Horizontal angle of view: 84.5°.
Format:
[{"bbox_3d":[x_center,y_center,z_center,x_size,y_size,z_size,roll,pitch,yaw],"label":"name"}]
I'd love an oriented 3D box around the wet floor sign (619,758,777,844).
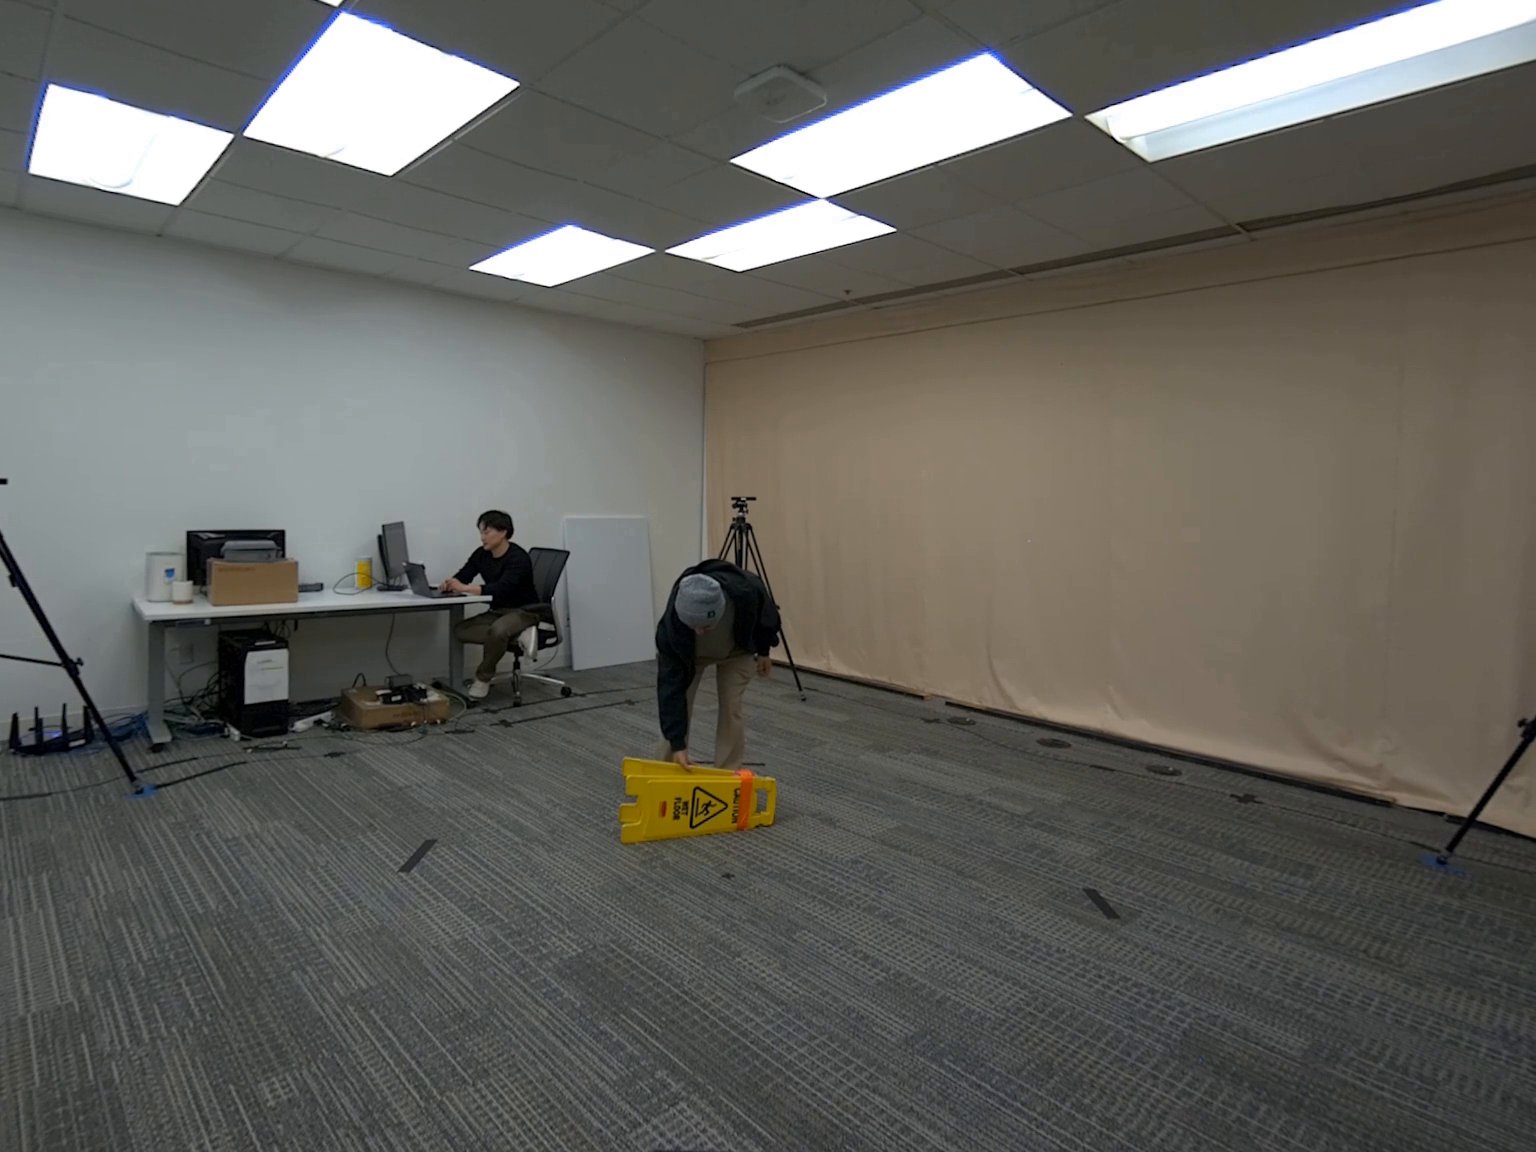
[{"bbox_3d":[-0.297,0.939,3.545,0.640,0.281,0.293,4,5,-11],"label":"wet floor sign"}]
